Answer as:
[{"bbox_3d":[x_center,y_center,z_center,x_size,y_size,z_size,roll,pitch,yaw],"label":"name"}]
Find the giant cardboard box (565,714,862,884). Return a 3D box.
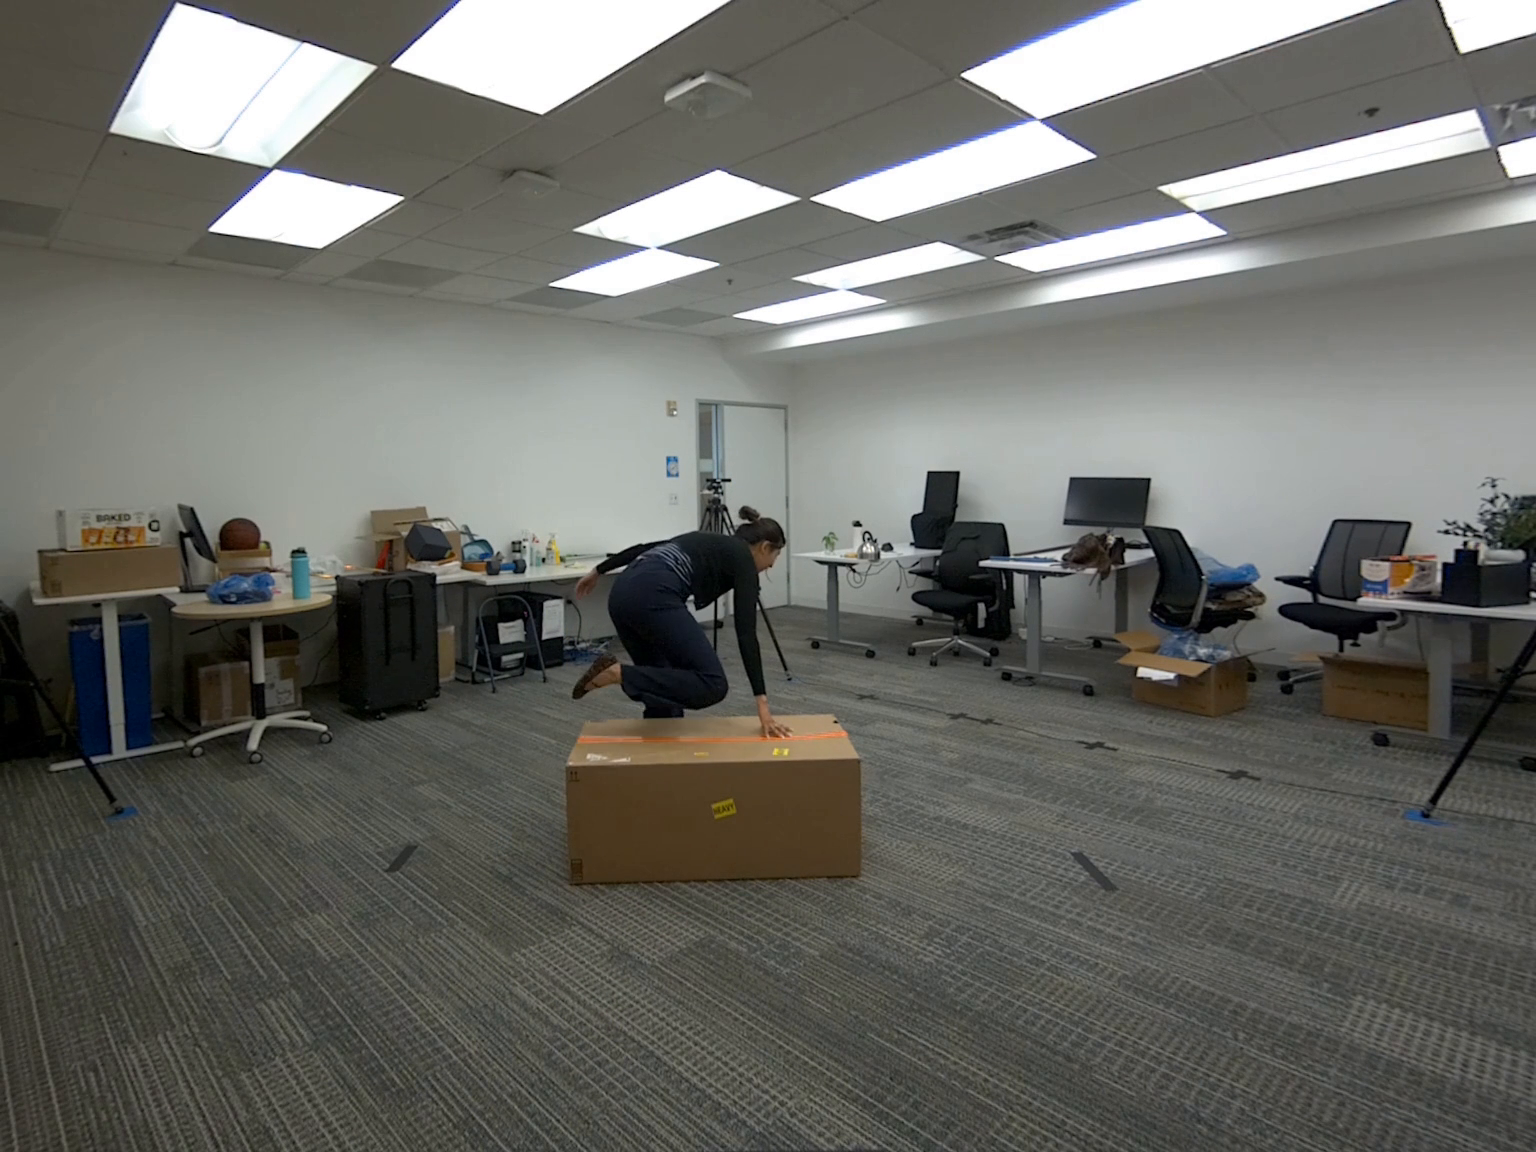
[{"bbox_3d":[-0.210,0.817,3.245,1.024,0.424,0.581,-1,5,-2],"label":"giant cardboard box"}]
